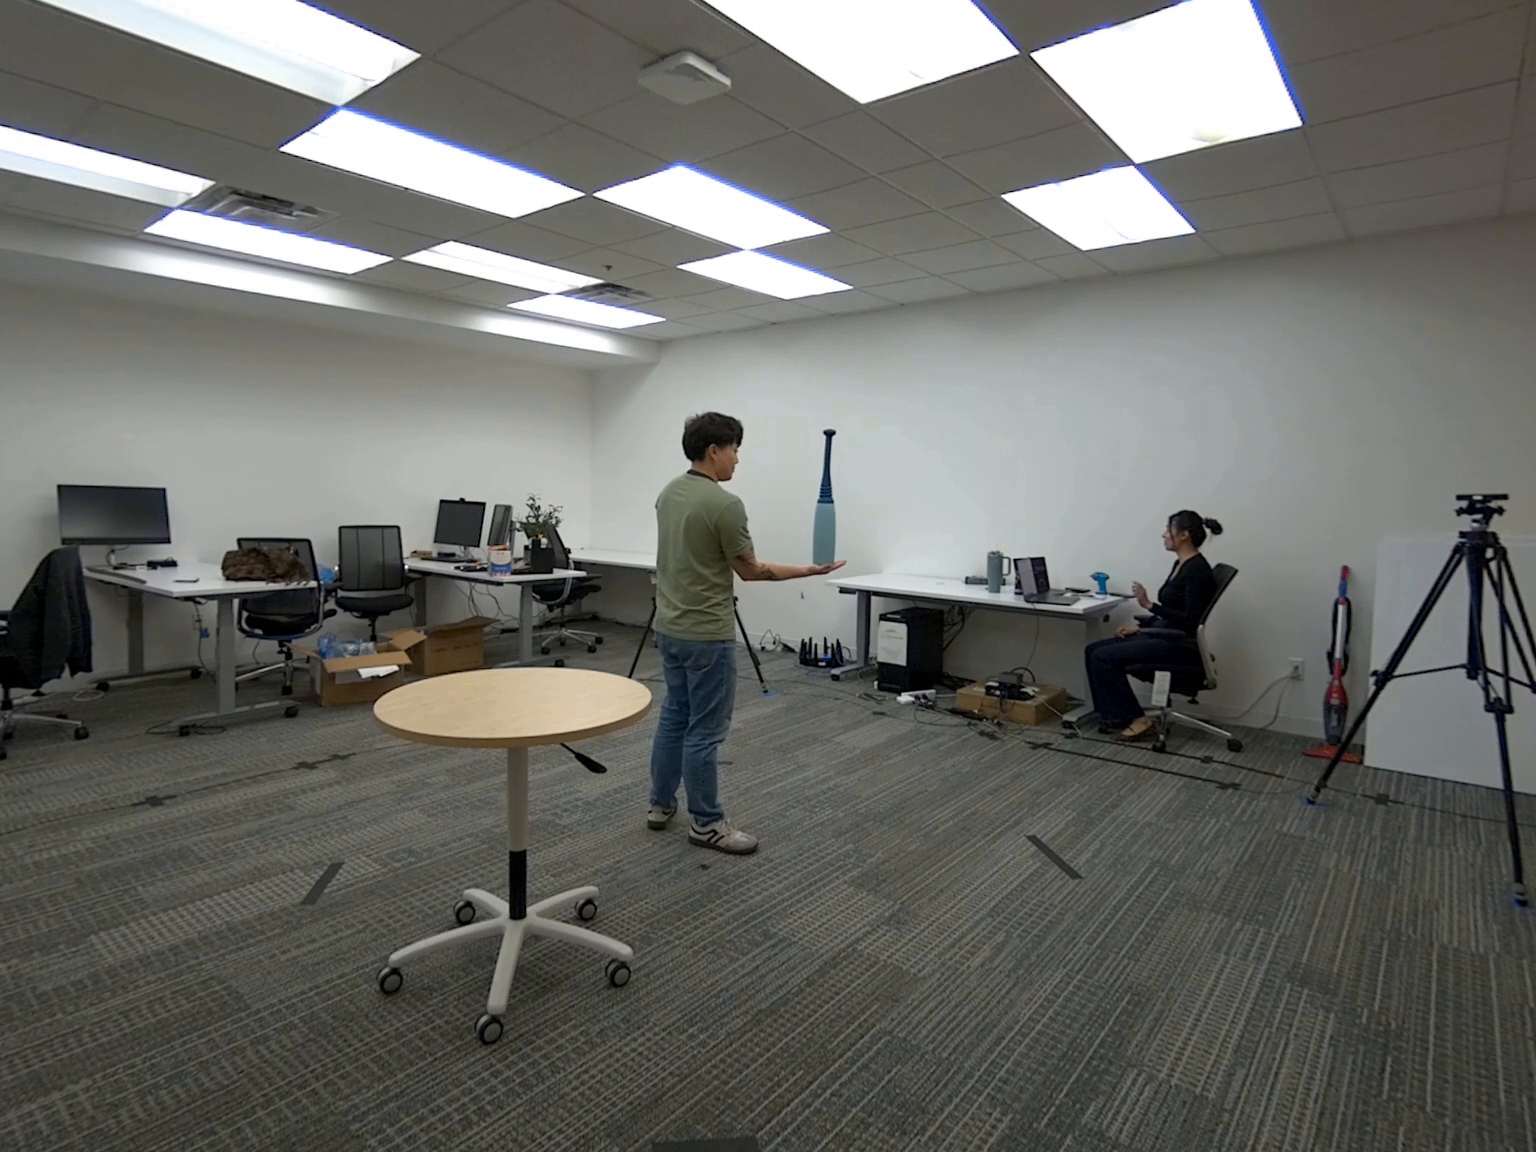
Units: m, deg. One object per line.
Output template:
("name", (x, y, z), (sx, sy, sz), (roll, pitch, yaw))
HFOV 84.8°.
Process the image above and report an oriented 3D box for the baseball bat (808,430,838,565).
("baseball bat", (0.216, -0.306, 3.341), (0.089, 0.541, 0.089), (1, 3, -2))
